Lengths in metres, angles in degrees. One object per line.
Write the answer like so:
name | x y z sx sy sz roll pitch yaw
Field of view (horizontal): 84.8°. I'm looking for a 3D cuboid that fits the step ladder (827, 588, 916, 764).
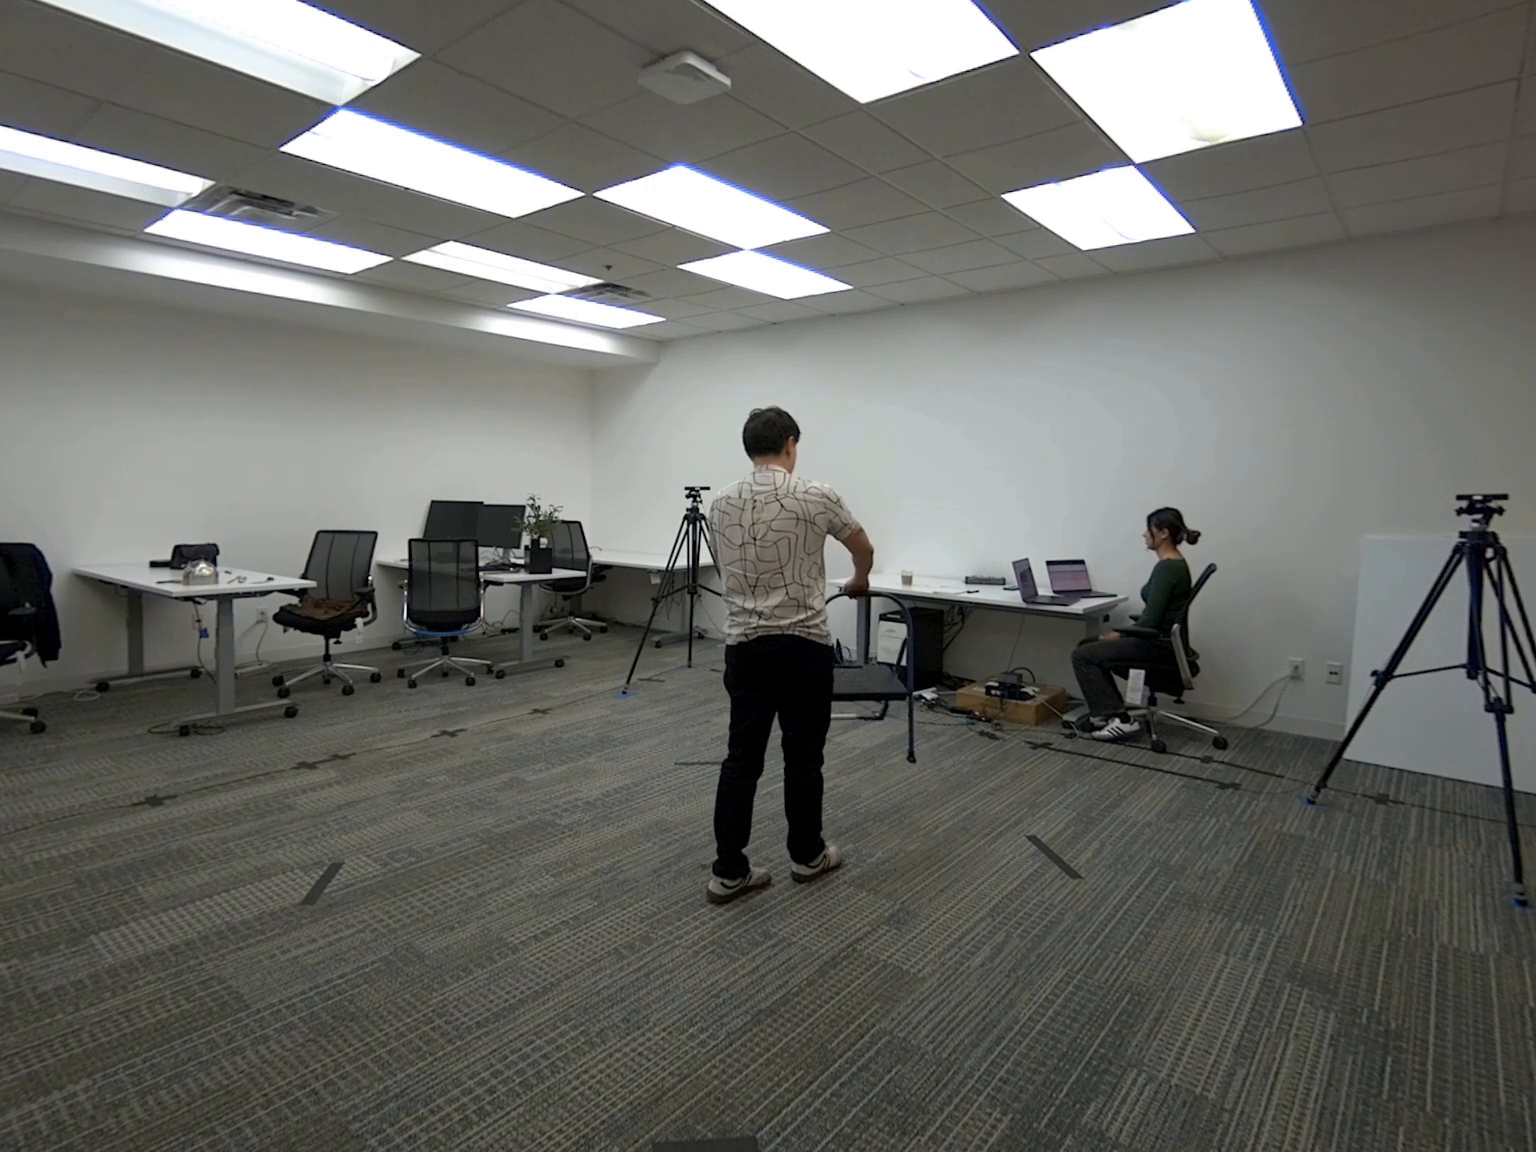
step ladder | 0.360 0.380 3.320 0.424 0.597 0.359 1 18 -14
